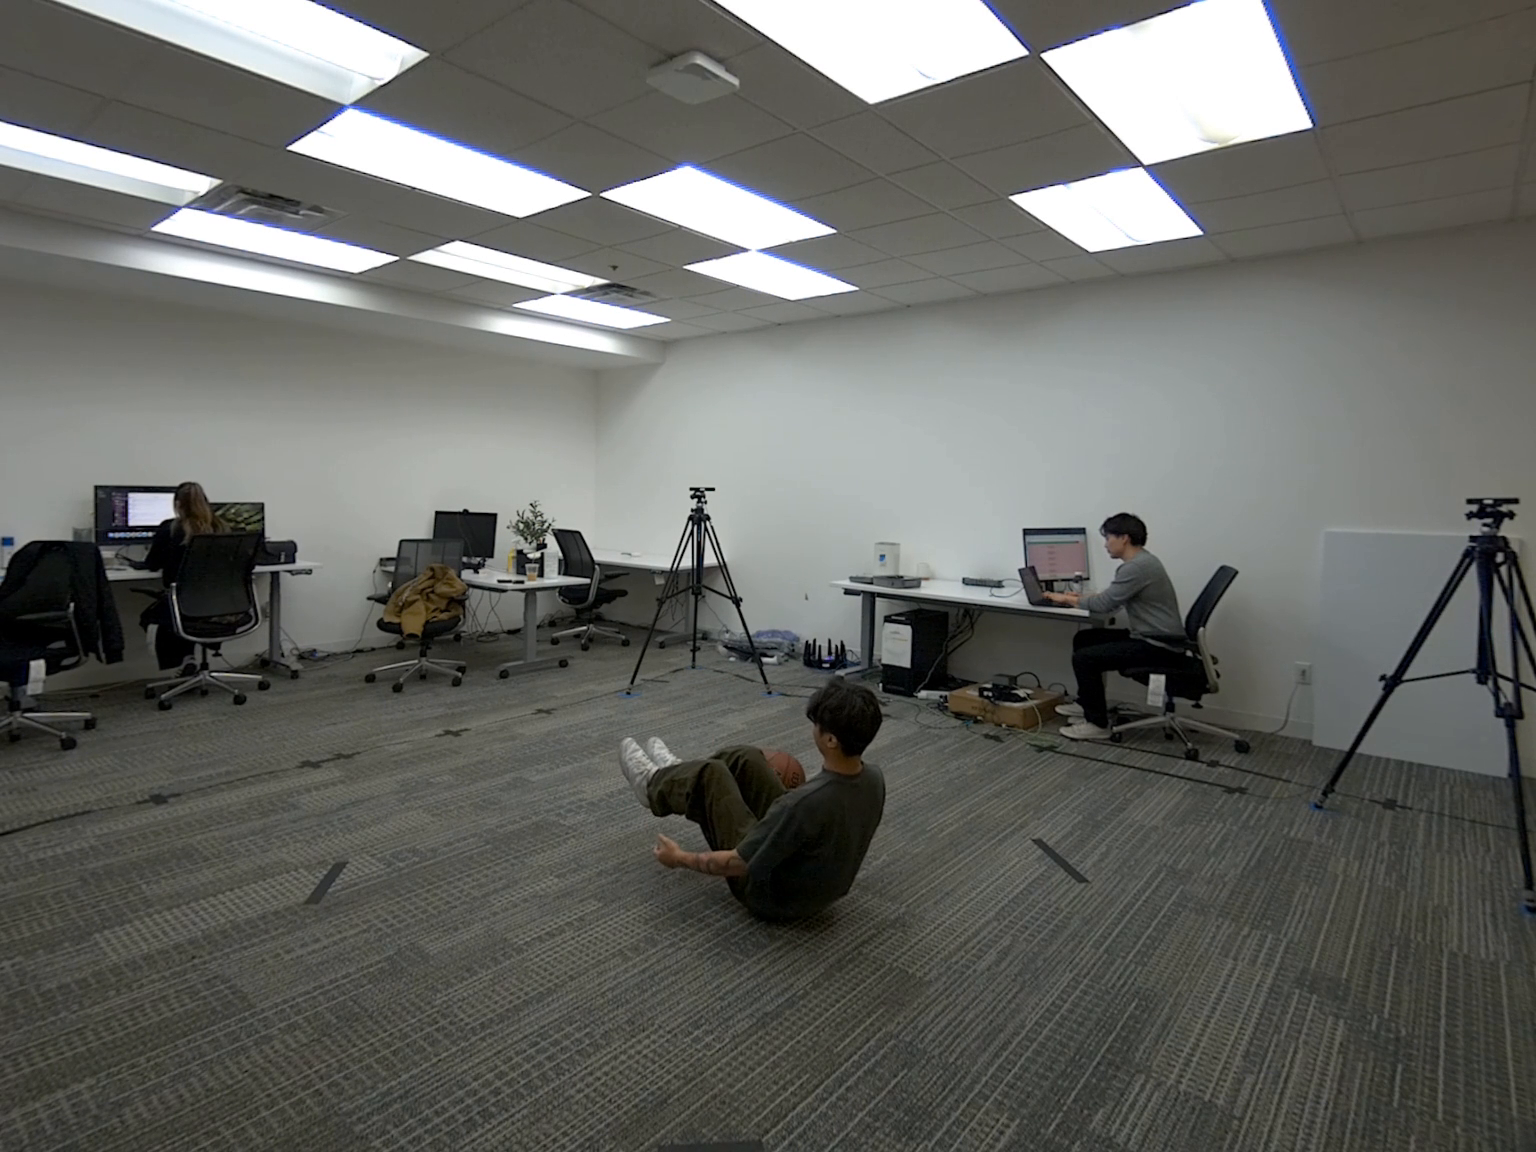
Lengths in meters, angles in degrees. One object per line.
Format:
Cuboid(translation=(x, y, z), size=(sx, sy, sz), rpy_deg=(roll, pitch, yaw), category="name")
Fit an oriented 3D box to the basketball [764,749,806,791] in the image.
Cuboid(translation=(0.008, 0.777, 3.253), size=(0.235, 0.235, 0.237), rpy_deg=(1, 4, -2), category="basketball")
